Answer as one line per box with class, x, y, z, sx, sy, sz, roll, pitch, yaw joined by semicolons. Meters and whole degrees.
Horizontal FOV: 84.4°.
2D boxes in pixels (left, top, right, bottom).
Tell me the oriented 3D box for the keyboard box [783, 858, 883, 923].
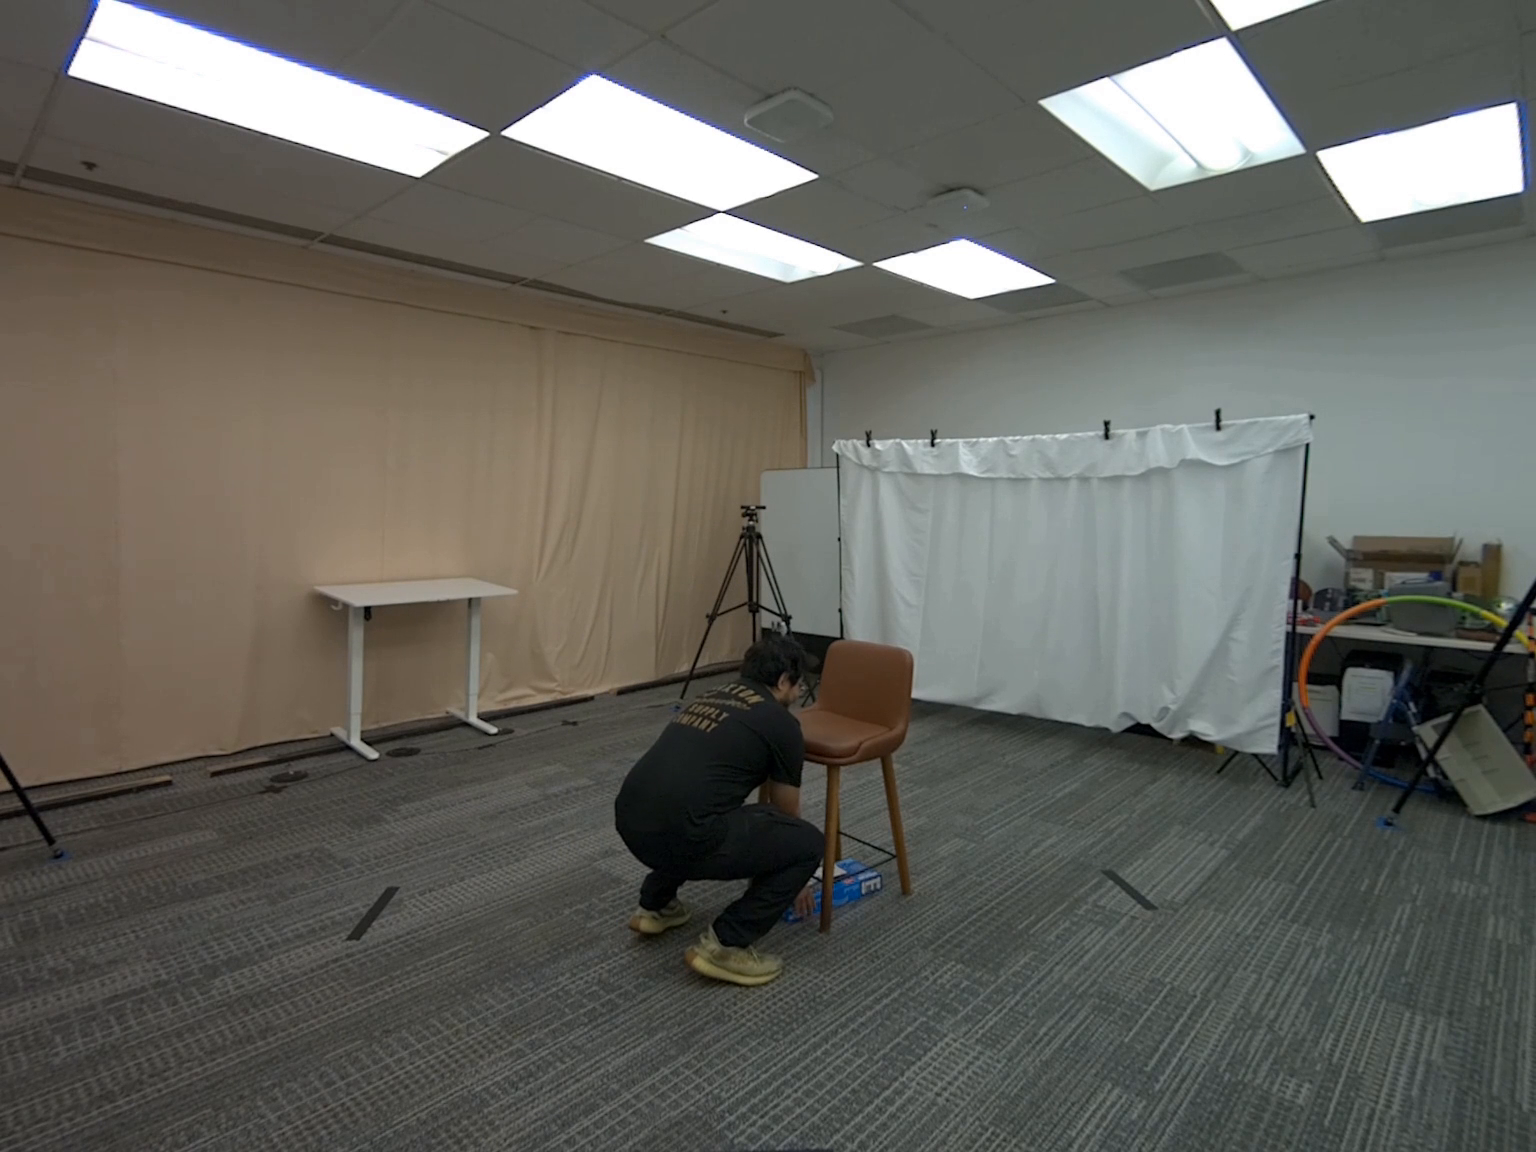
keyboard box;0.196;1.115;3.002;0.424;0.059;0.182;-4;7;-35
